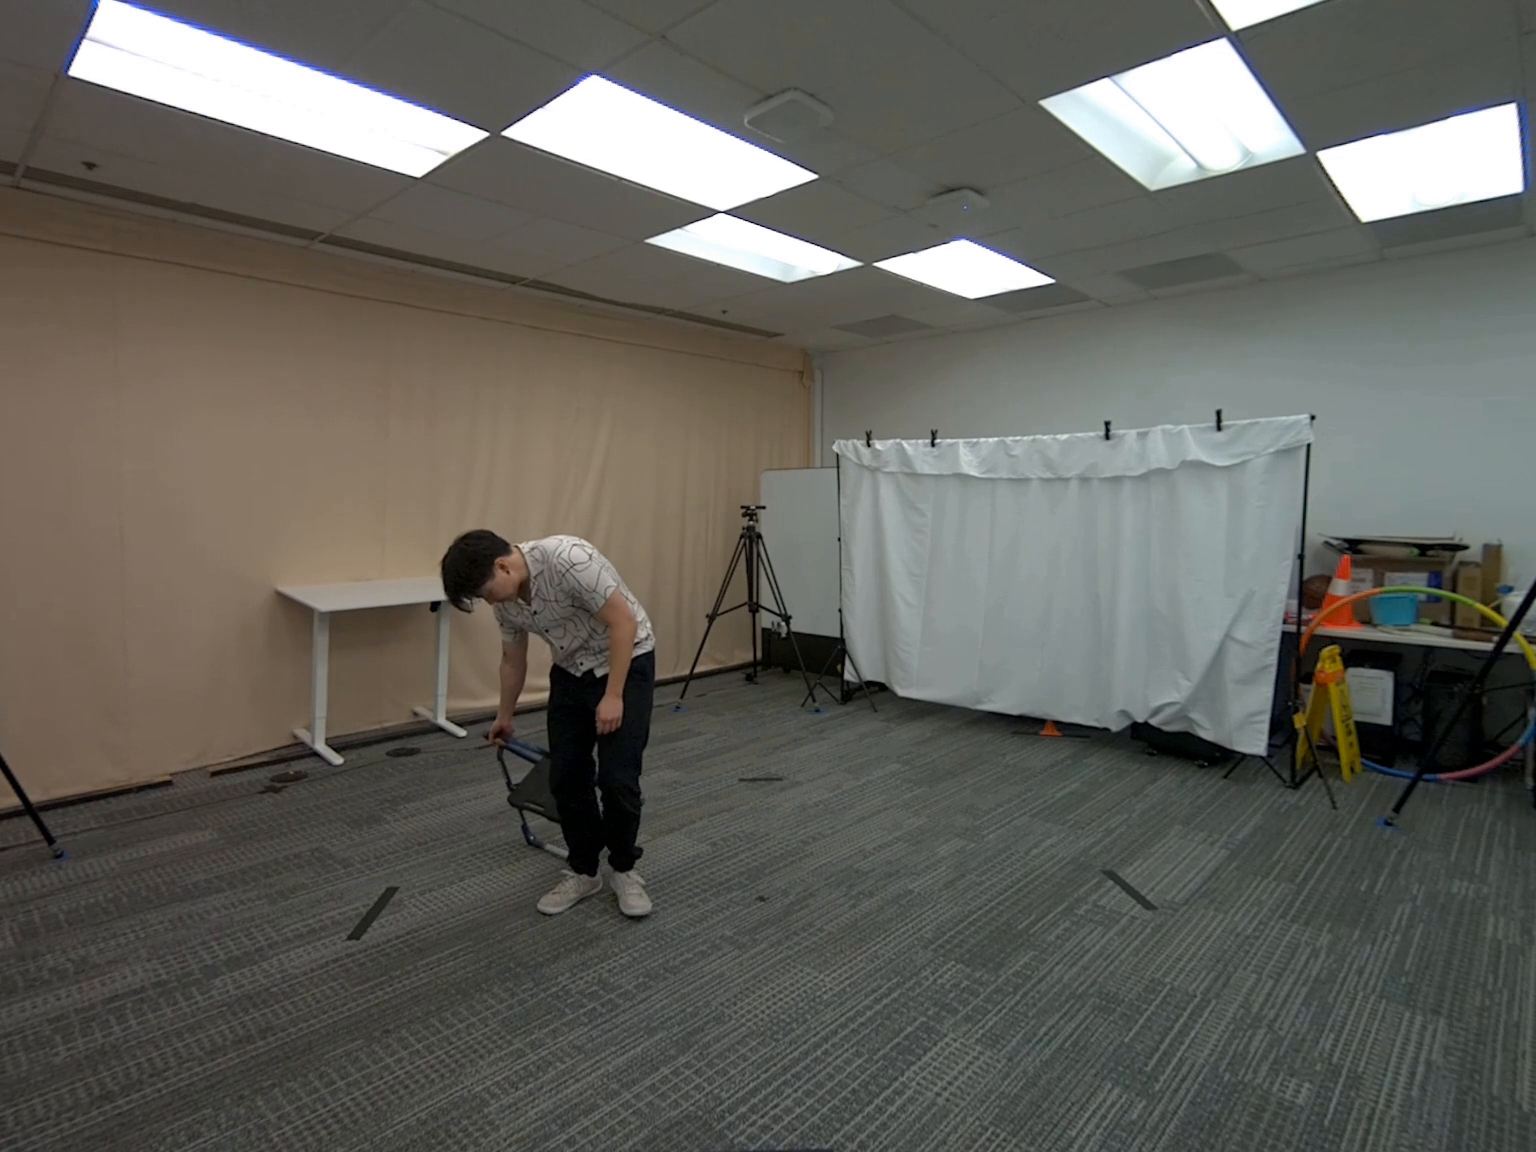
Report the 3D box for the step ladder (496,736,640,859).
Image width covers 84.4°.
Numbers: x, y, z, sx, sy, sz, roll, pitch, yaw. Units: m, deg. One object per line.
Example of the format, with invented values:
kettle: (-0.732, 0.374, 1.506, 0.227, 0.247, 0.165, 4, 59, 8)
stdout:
step ladder: (-0.865, 0.787, 3.326, 0.444, 0.591, 0.347, 2, 39, 39)
